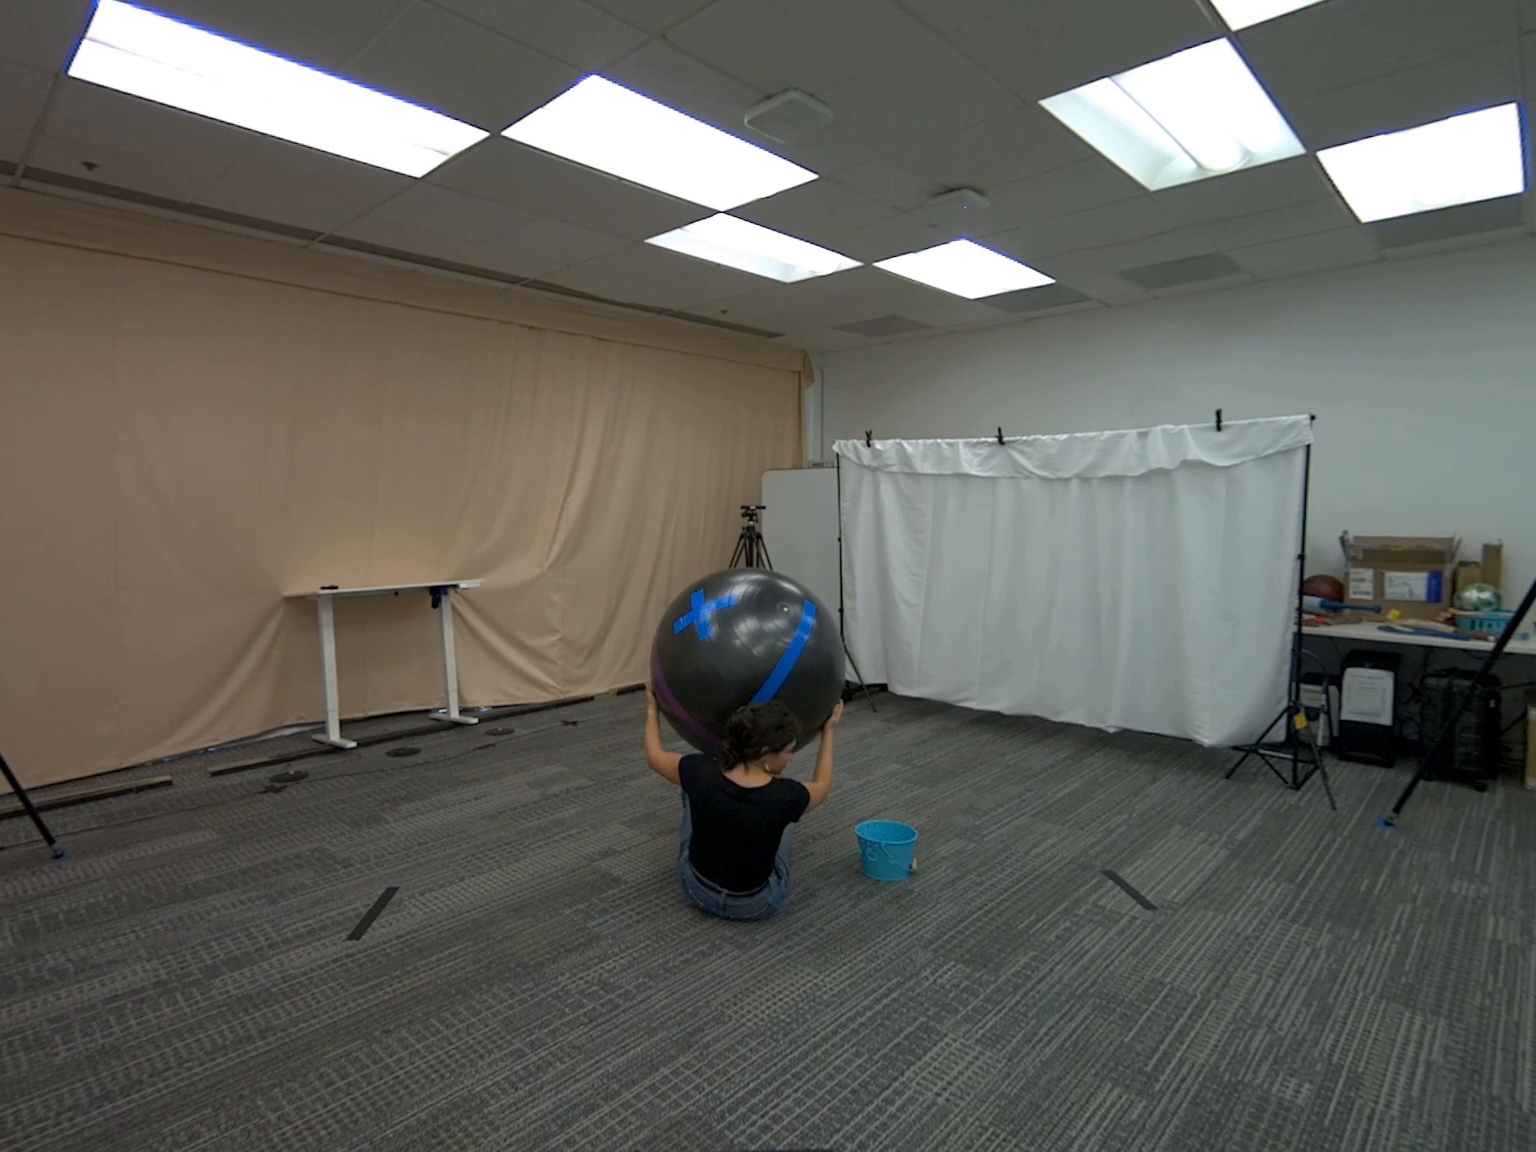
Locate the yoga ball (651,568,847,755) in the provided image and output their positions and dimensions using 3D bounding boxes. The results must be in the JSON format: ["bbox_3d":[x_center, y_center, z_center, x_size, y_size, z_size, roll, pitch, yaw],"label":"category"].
[{"bbox_3d":[-0.076,0.350,3.295,0.757,0.756,0.760,0,4,-2],"label":"yoga ball"}]
